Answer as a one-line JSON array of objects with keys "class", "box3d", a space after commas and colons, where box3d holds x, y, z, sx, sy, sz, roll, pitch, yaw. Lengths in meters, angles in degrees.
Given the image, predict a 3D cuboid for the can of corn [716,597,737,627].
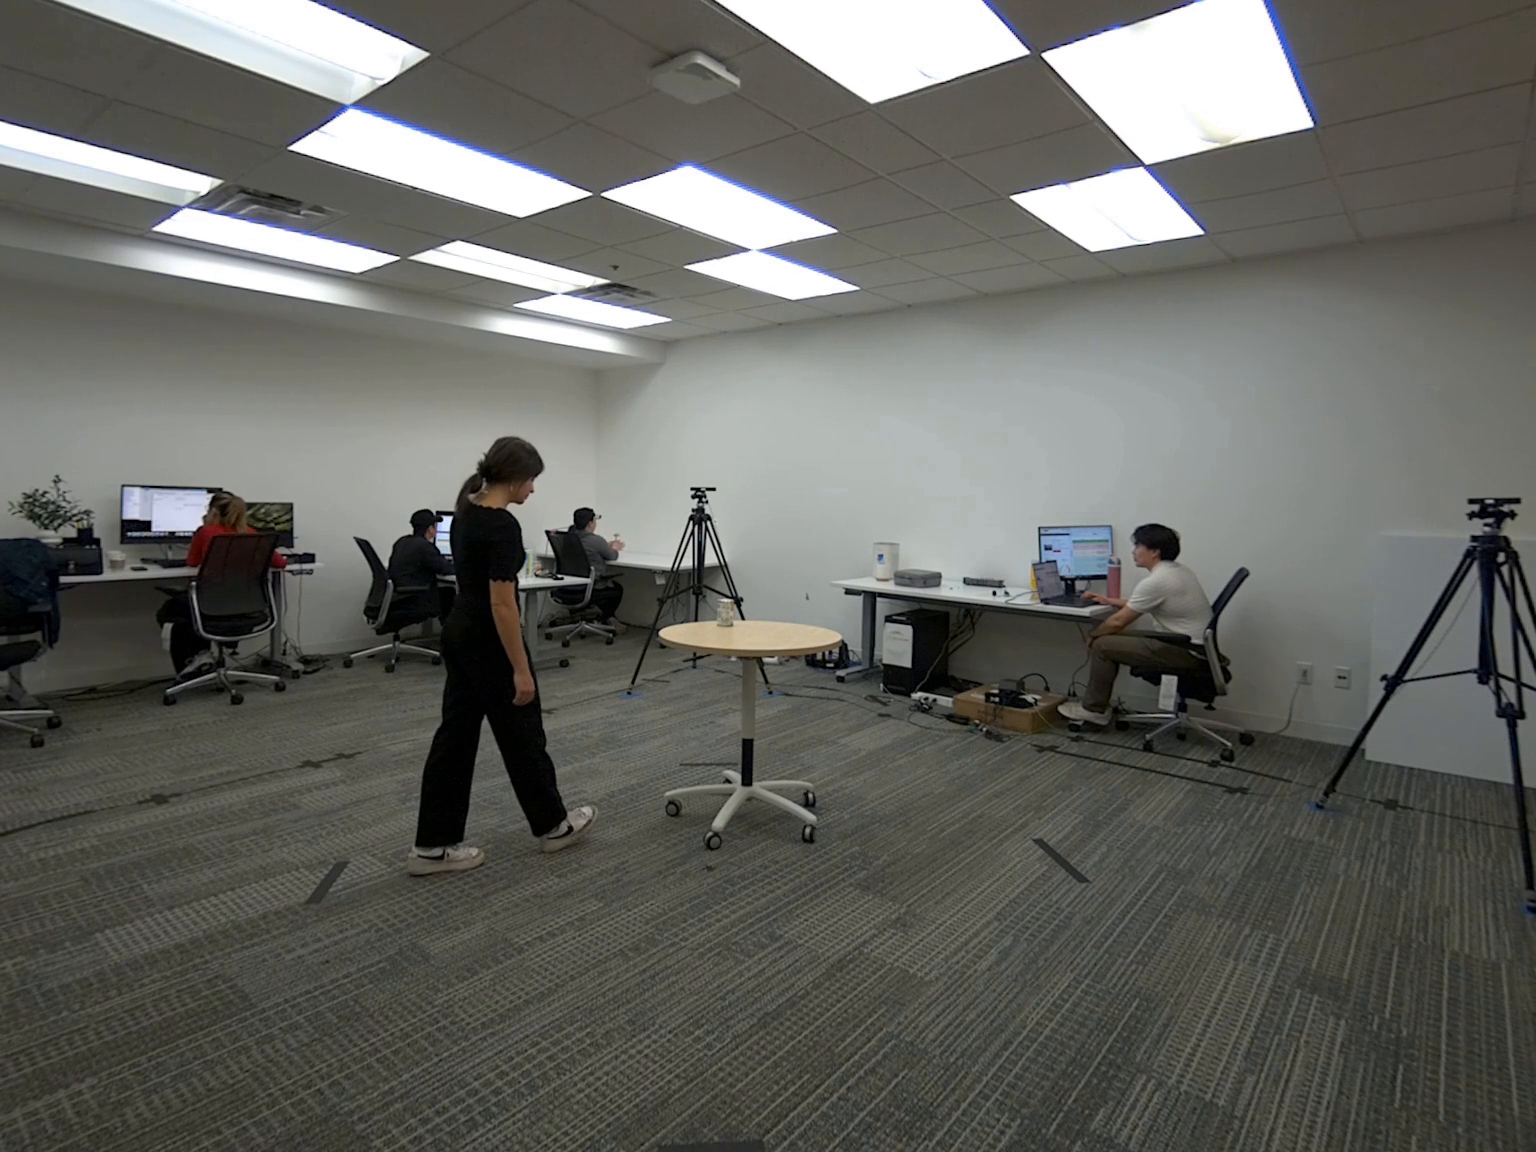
[{"class": "can of corn", "box3d": [-0.203, 0.161, 3.794, 0.074, 0.111, 0.074, 1, 2, -2]}]
